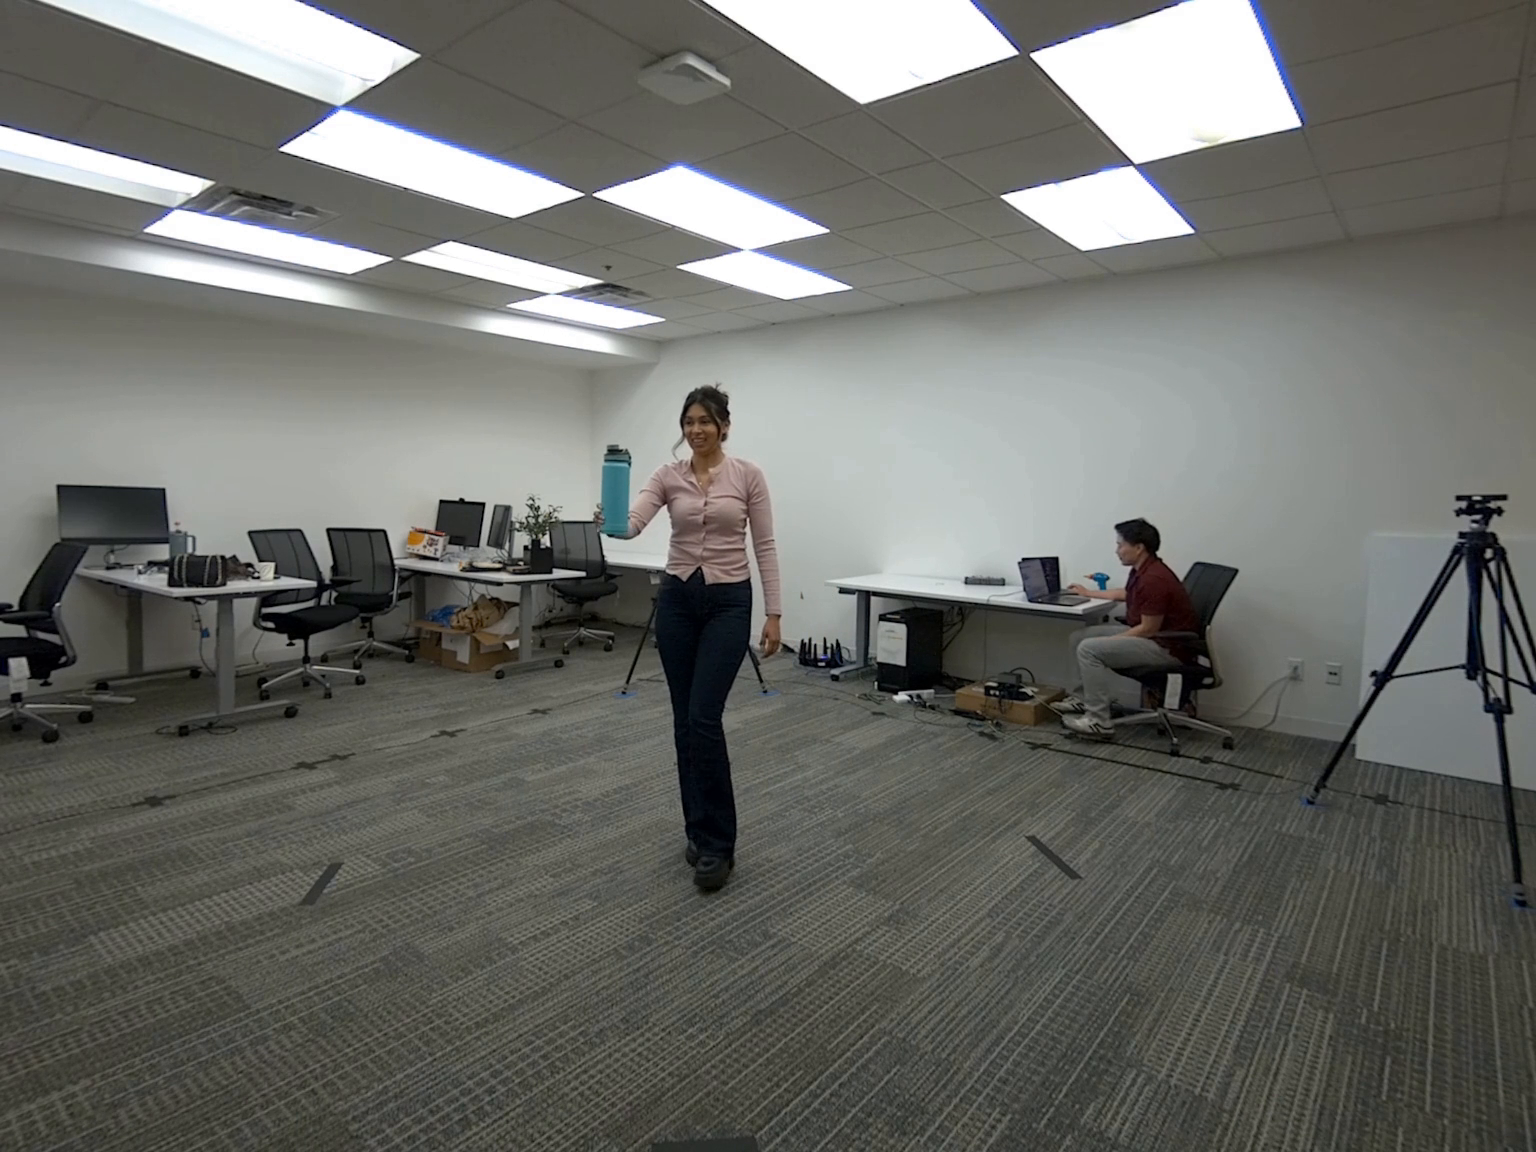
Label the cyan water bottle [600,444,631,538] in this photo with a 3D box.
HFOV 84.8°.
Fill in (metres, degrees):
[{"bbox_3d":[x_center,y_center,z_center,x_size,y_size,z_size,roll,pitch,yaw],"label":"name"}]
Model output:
[{"bbox_3d":[-0.494,-0.281,2.706,0.092,0.284,0.092,4,-1,-2],"label":"cyan water bottle"}]
